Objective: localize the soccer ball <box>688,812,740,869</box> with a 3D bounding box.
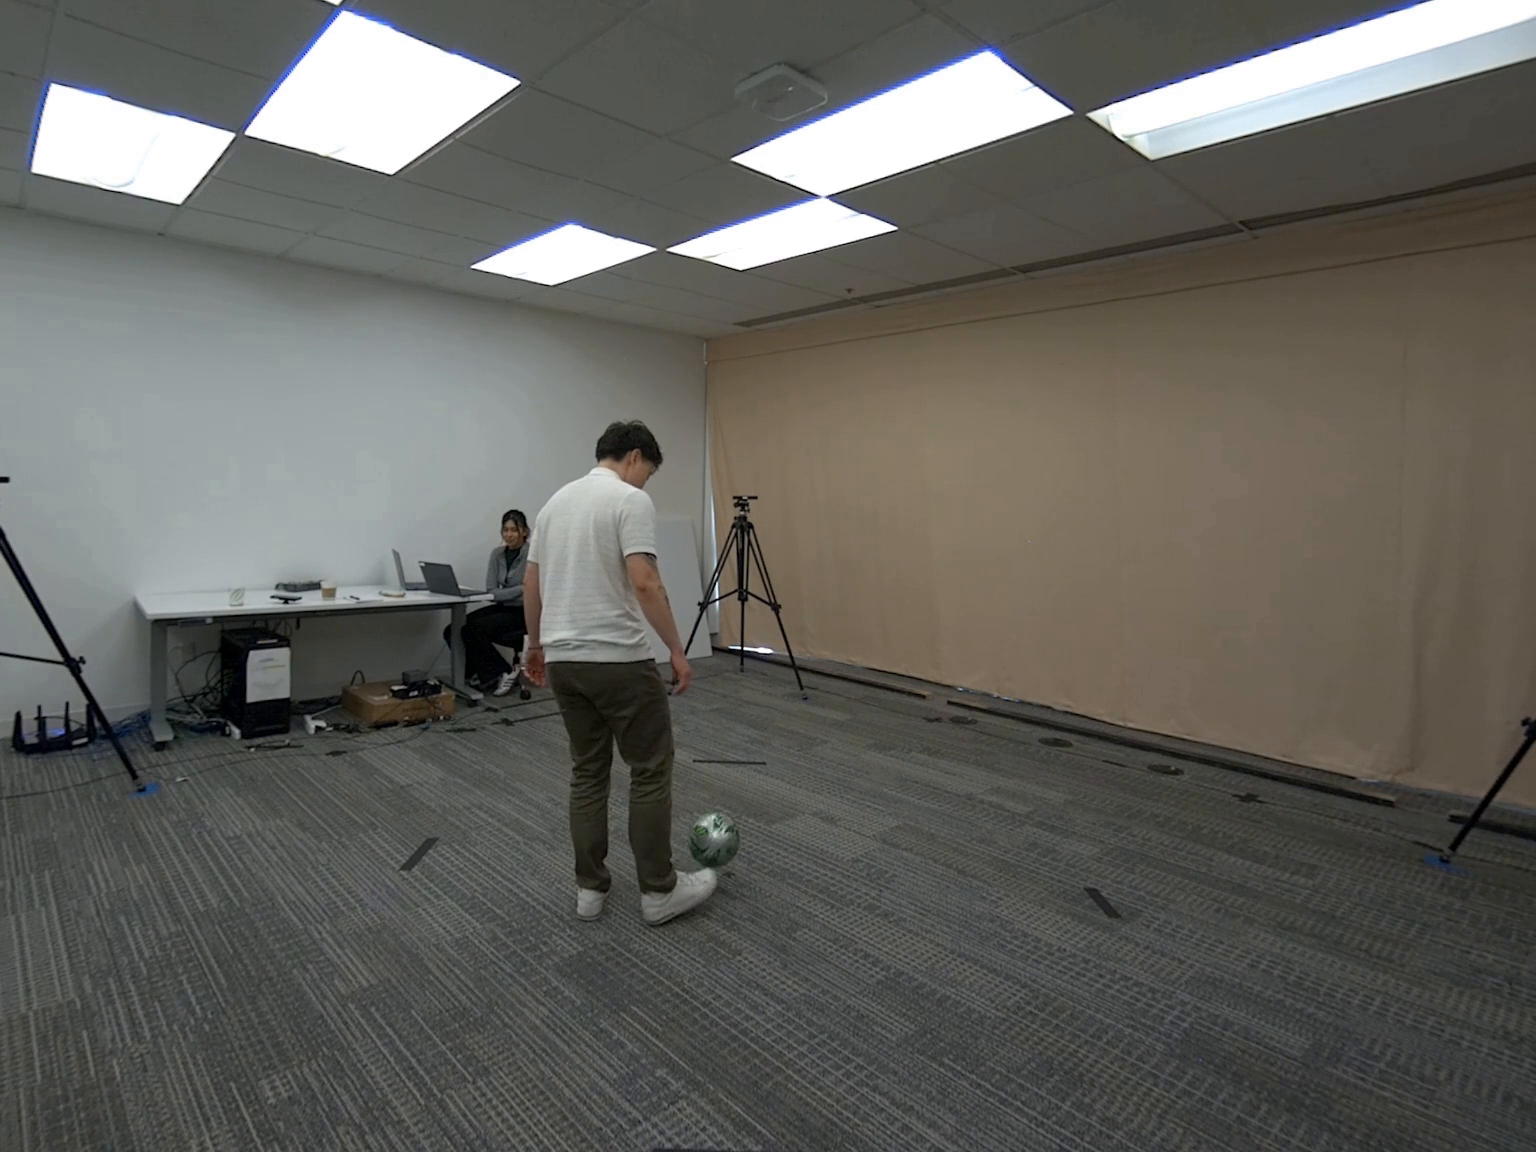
[{"bbox_3d":[-0.200,0.950,2.996,0.187,0.187,0.188,1,4,-1],"label":"soccer ball"}]
